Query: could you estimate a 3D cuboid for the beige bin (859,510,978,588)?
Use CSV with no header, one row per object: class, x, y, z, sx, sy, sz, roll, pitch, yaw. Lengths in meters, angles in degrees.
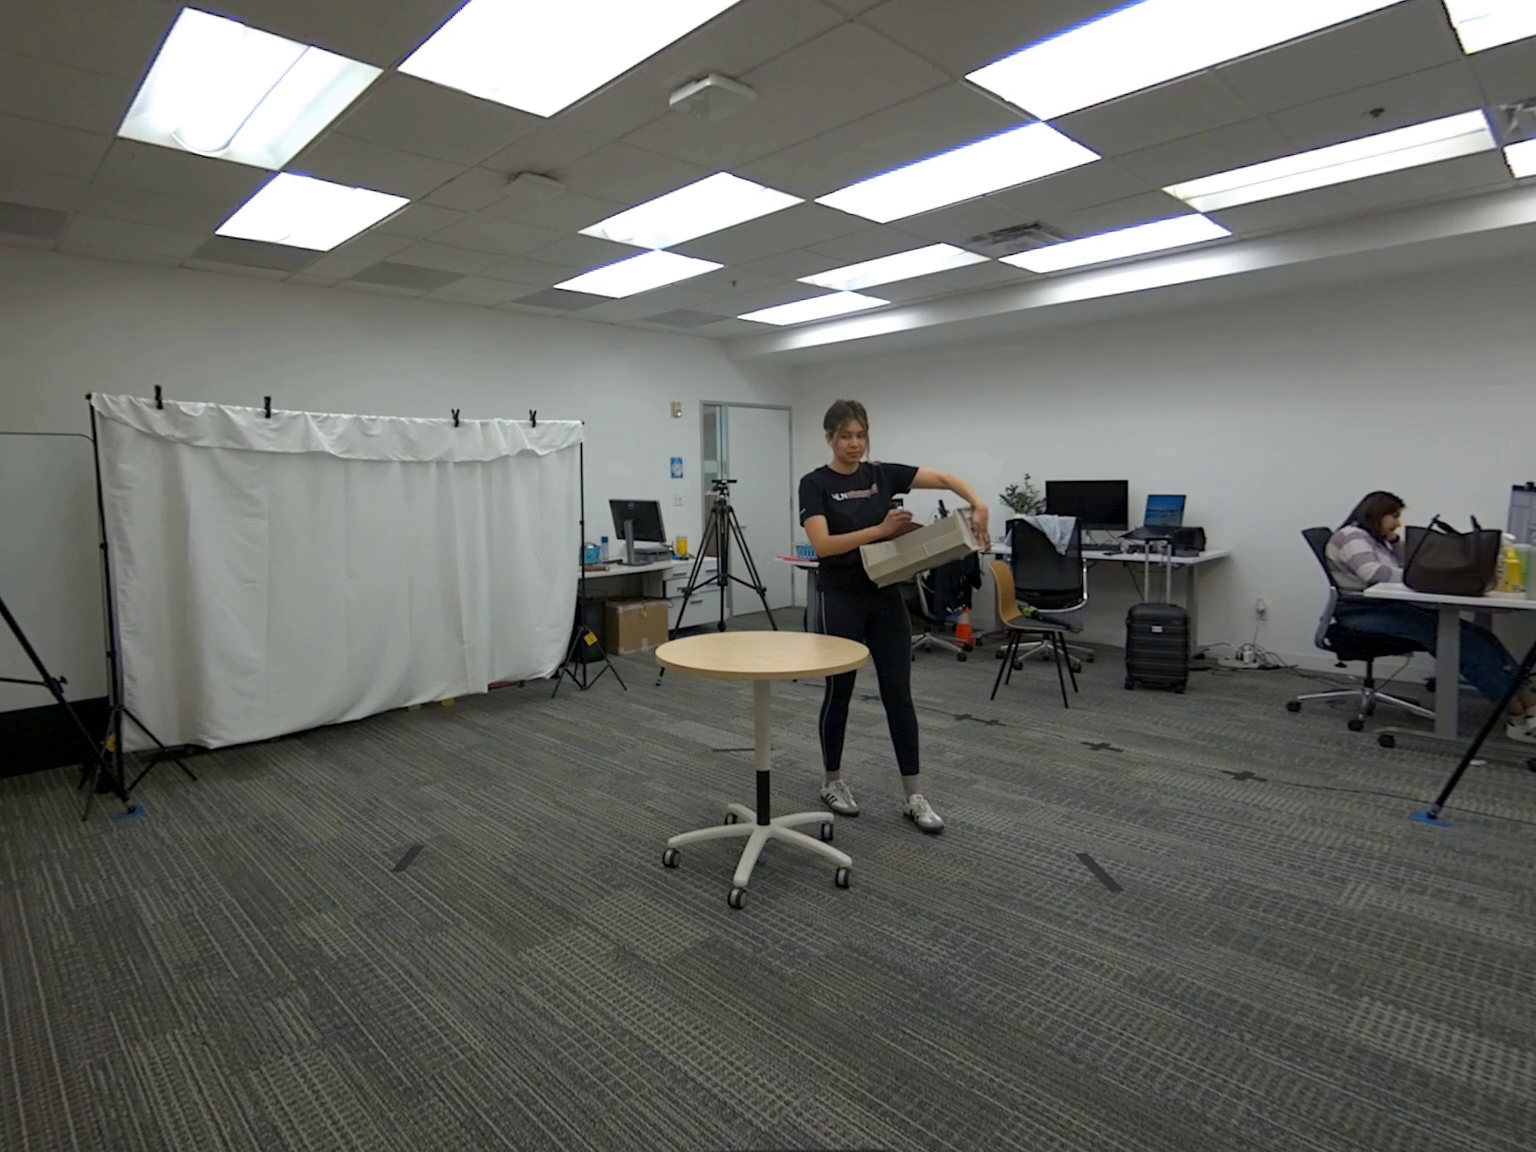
beige bin,0.635,-0.120,3.408,0.428,0.191,0.368,-24,-9,32
